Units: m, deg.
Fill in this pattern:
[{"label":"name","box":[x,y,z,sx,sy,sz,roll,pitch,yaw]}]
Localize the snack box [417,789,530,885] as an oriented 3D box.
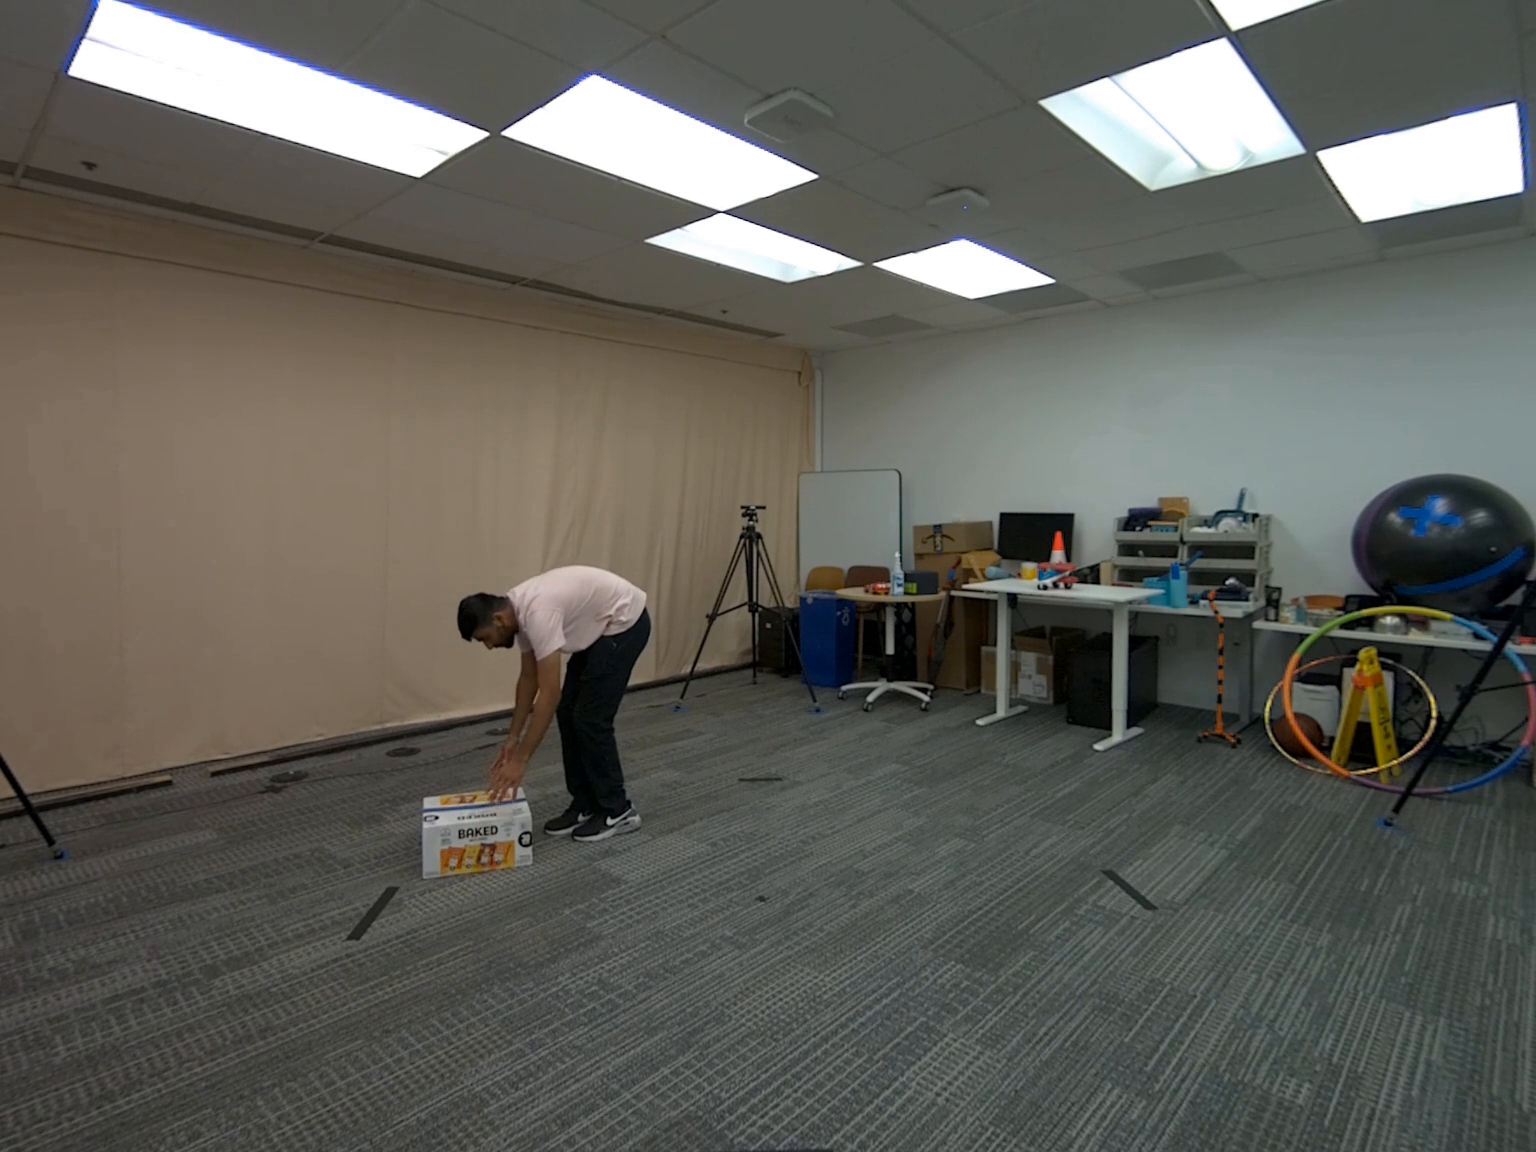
[{"label":"snack box","box":[-1.177,1.022,3.365,0.397,0.205,0.348,-1,4,-20]}]
